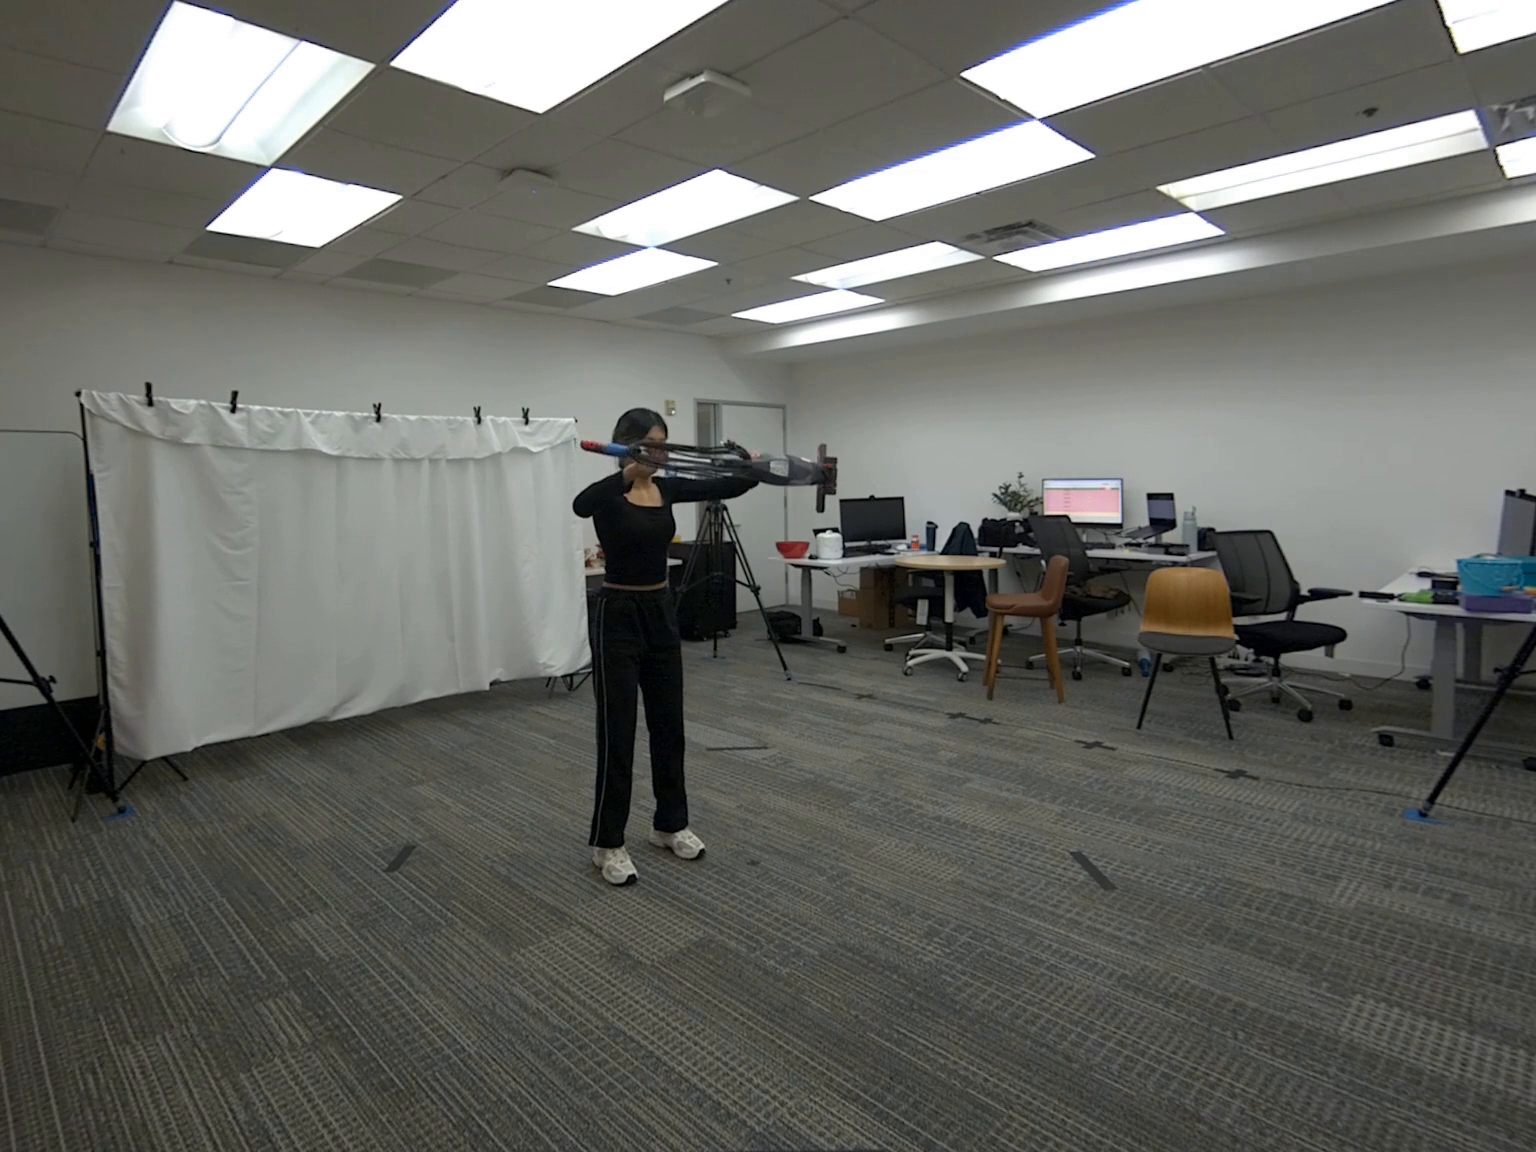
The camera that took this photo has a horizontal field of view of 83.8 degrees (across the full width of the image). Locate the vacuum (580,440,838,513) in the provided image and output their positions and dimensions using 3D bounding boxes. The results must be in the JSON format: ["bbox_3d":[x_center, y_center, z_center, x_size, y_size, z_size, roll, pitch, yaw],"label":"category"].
[{"bbox_3d":[-0.153,-0.353,2.747,1.018,0.252,0.148,0,3,-44],"label":"vacuum"}]
